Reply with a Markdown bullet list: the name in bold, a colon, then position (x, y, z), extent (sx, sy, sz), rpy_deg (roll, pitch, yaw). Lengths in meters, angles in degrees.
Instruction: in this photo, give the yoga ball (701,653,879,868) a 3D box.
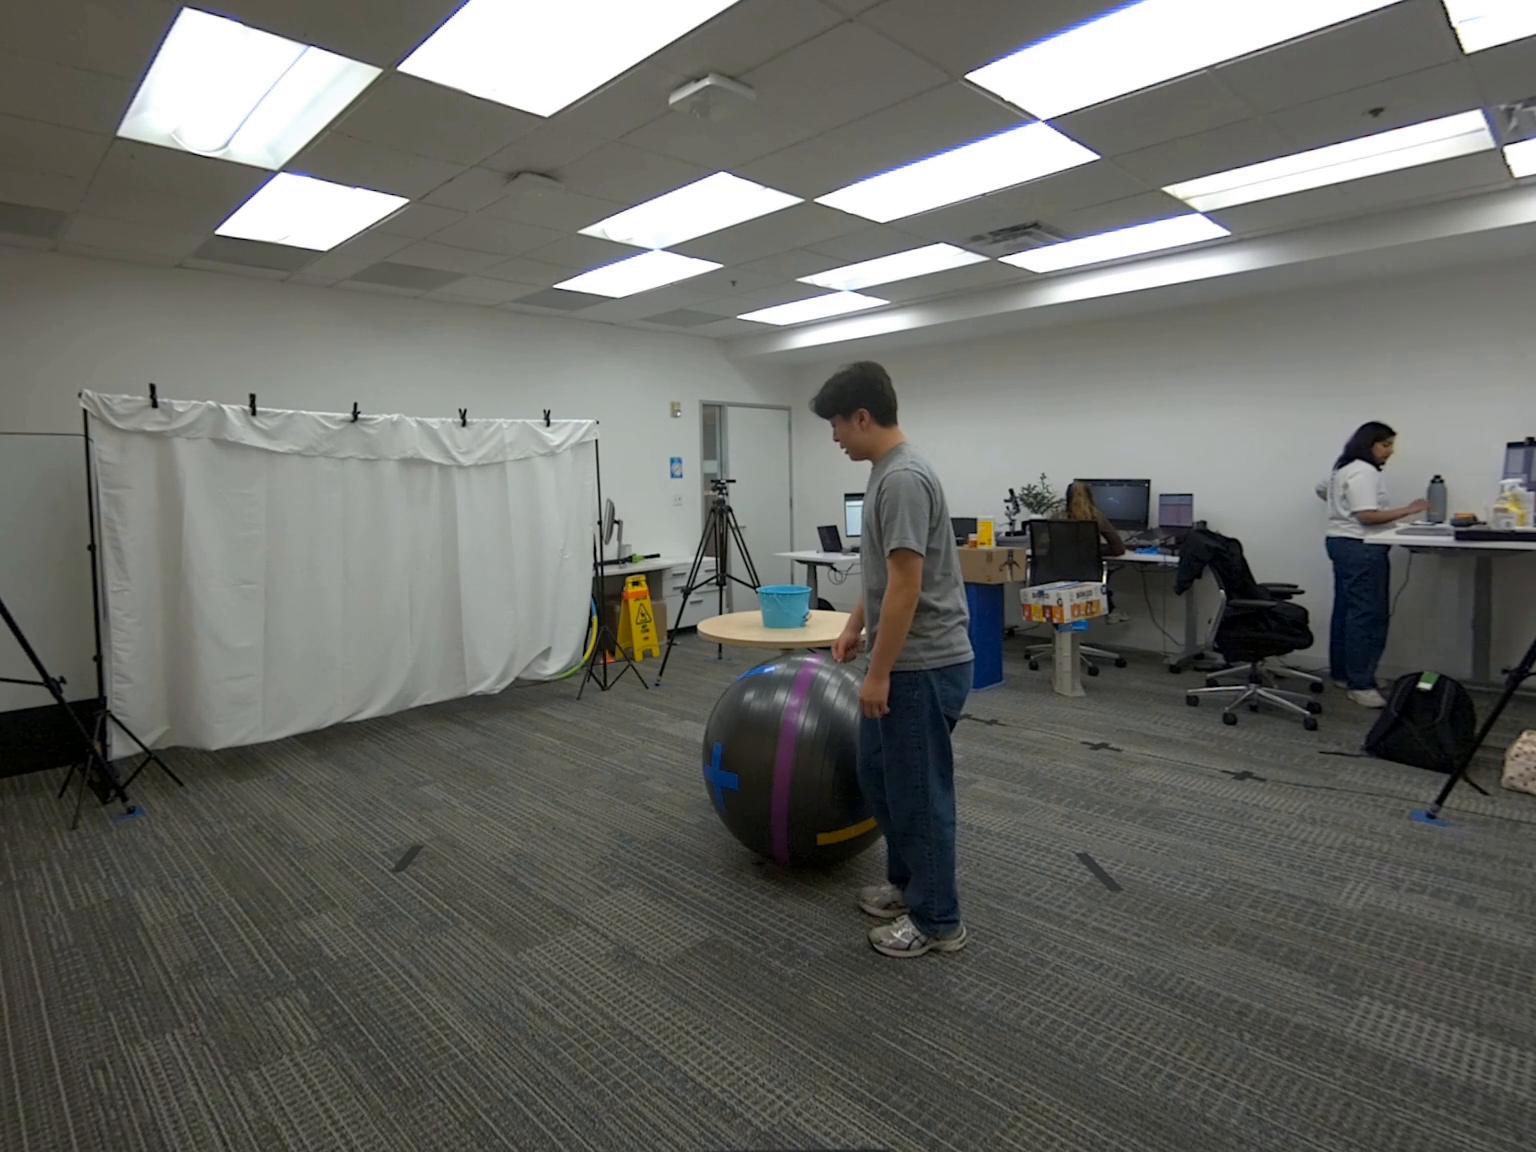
- **yoga ball**: position (0.144, 0.668, 3.134), extent (0.757, 0.755, 0.762), rpy_deg (-1, 5, -2)
